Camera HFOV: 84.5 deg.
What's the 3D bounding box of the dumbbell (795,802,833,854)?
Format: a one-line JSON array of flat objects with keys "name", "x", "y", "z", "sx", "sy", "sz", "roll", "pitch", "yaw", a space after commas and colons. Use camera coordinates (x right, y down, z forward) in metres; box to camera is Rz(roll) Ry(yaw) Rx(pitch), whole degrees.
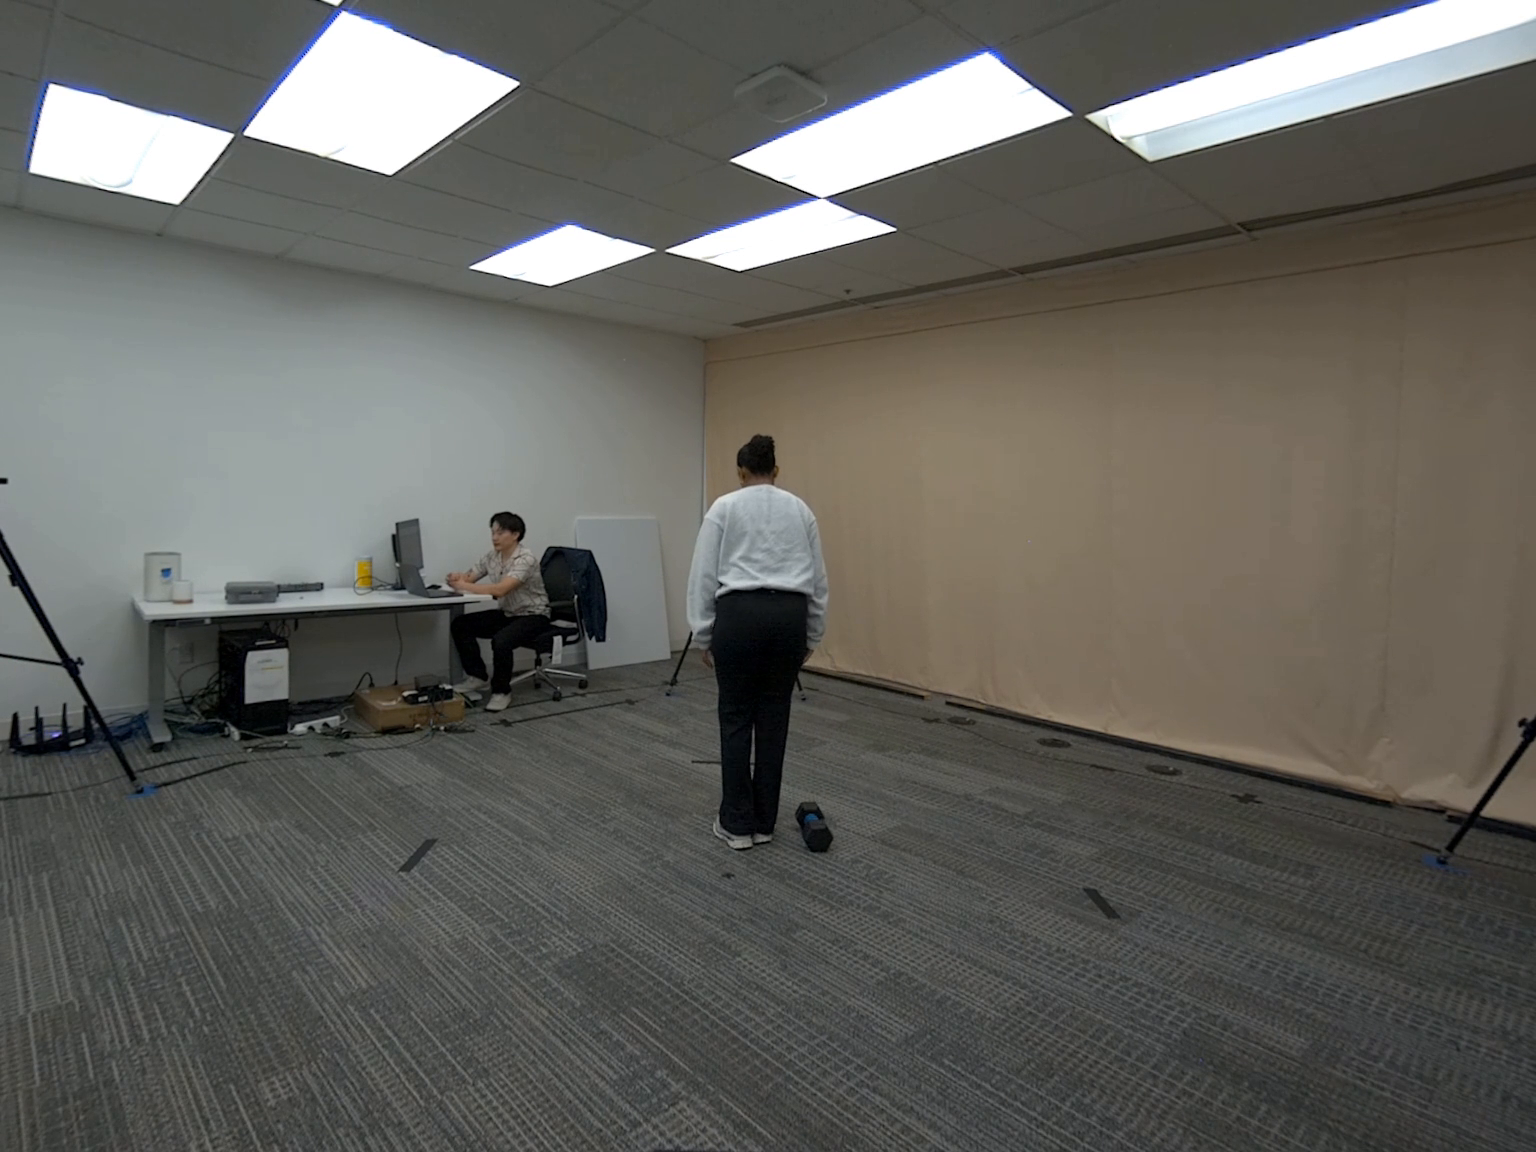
[{"name": "dumbbell", "x": 0.178, "y": 1.028, "z": 3.465, "sx": 0.108, "sy": 0.122, "sz": 0.295, "roll": -31, "pitch": 7, "yaw": -2}]
